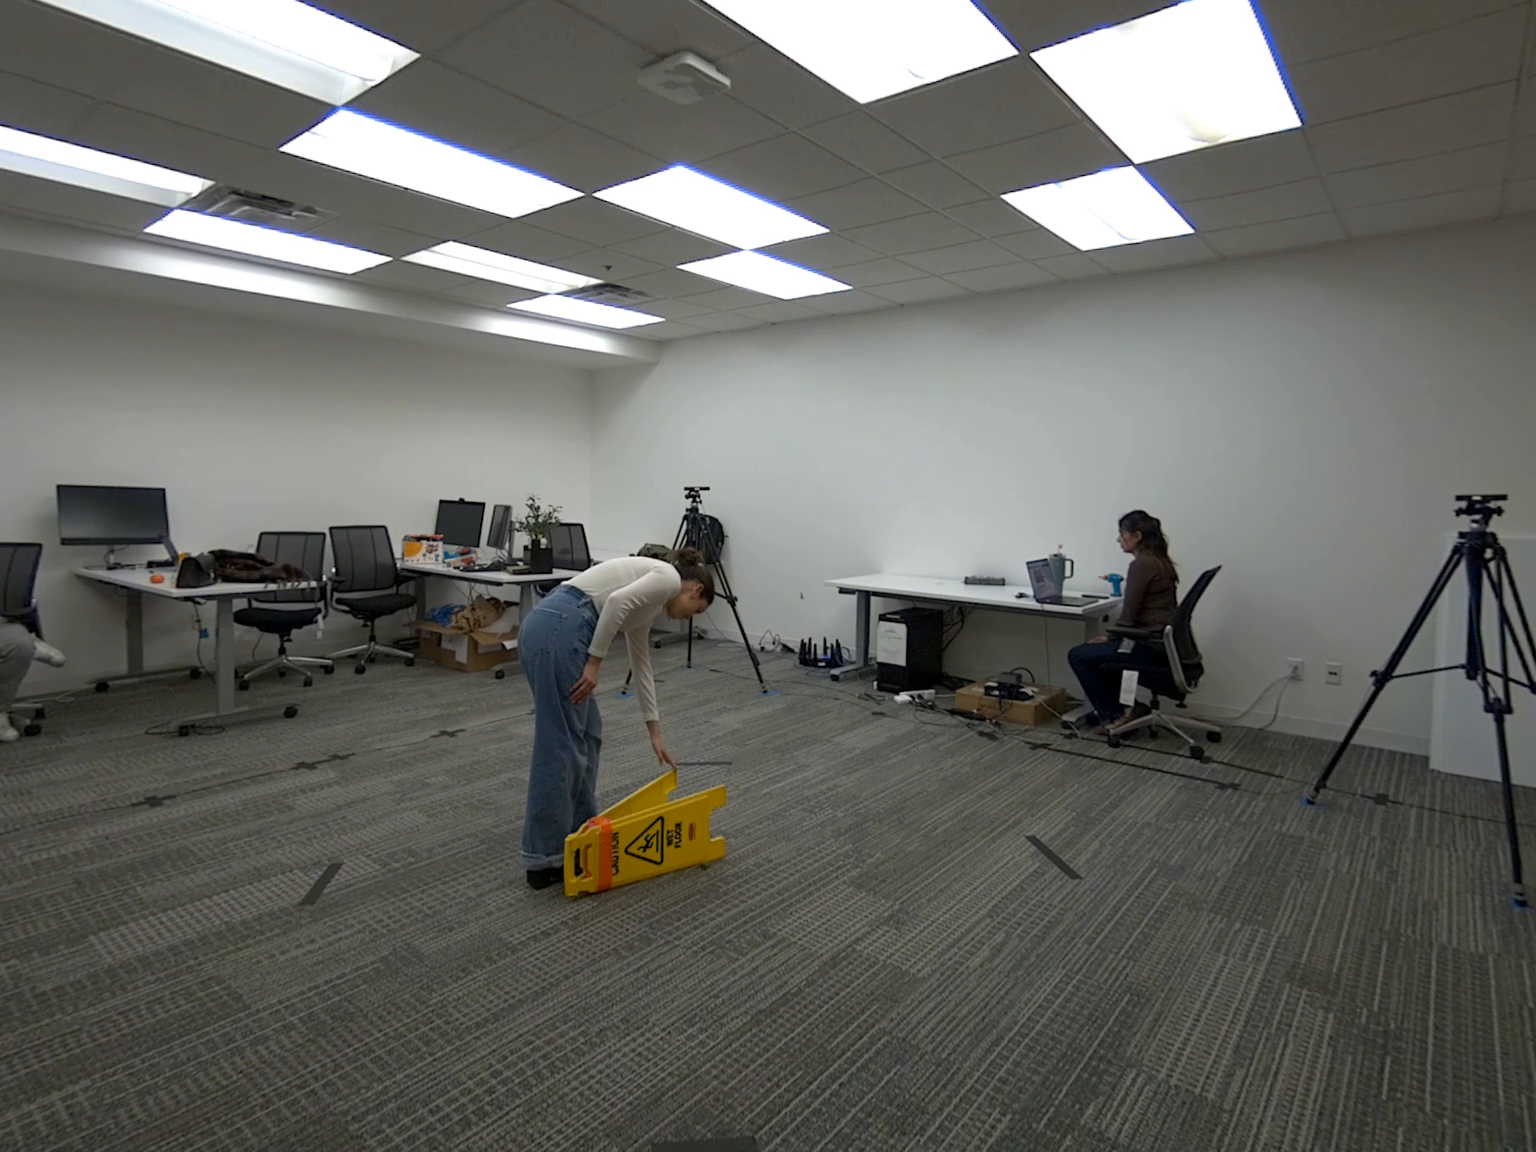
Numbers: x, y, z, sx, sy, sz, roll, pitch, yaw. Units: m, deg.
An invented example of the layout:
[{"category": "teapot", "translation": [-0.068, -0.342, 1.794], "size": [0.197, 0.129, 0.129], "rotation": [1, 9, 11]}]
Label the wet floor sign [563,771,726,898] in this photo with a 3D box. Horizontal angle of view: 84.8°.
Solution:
[{"category": "wet floor sign", "translation": [-0.475, 0.939, 3.052], "size": [0.299, 0.281, 0.628], "rotation": [4, 7, 40]}]
